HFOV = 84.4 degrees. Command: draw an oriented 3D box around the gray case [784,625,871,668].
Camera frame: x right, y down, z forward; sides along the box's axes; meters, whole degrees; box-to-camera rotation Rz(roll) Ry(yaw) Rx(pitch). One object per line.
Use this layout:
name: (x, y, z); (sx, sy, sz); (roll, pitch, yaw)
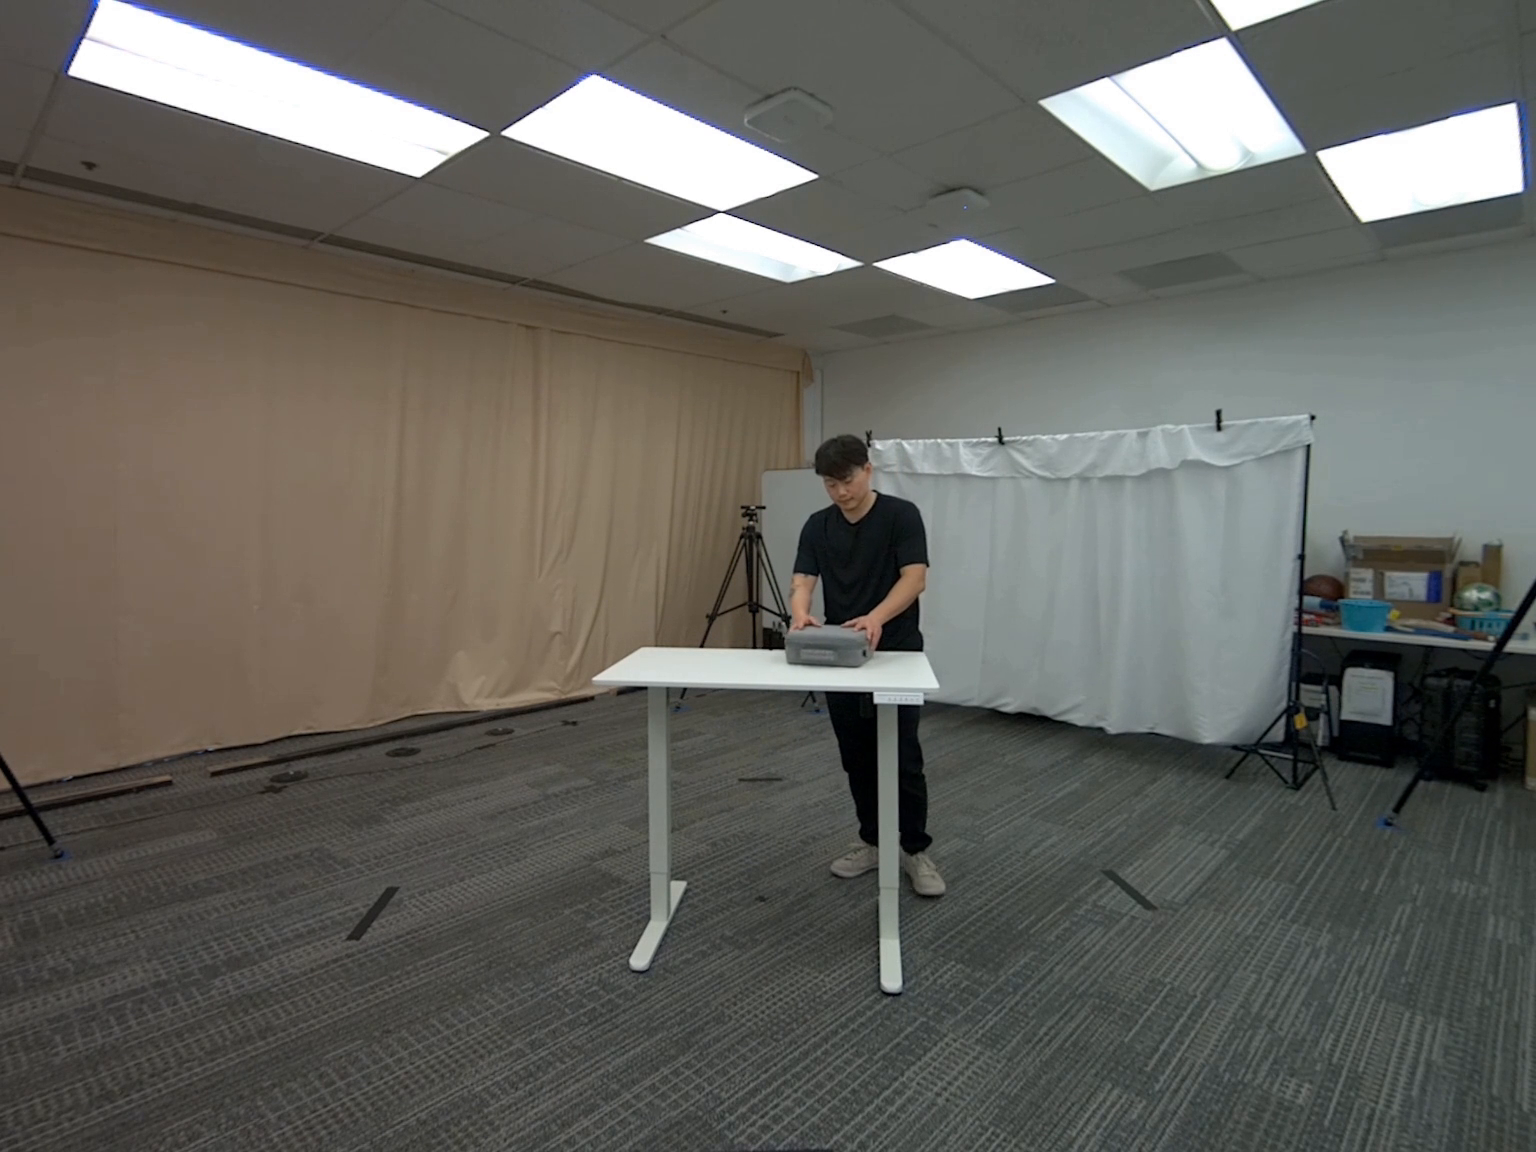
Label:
gray case: (0.208, 0.228, 2.761); (0.263, 0.104, 0.255); (3, 4, 23)
